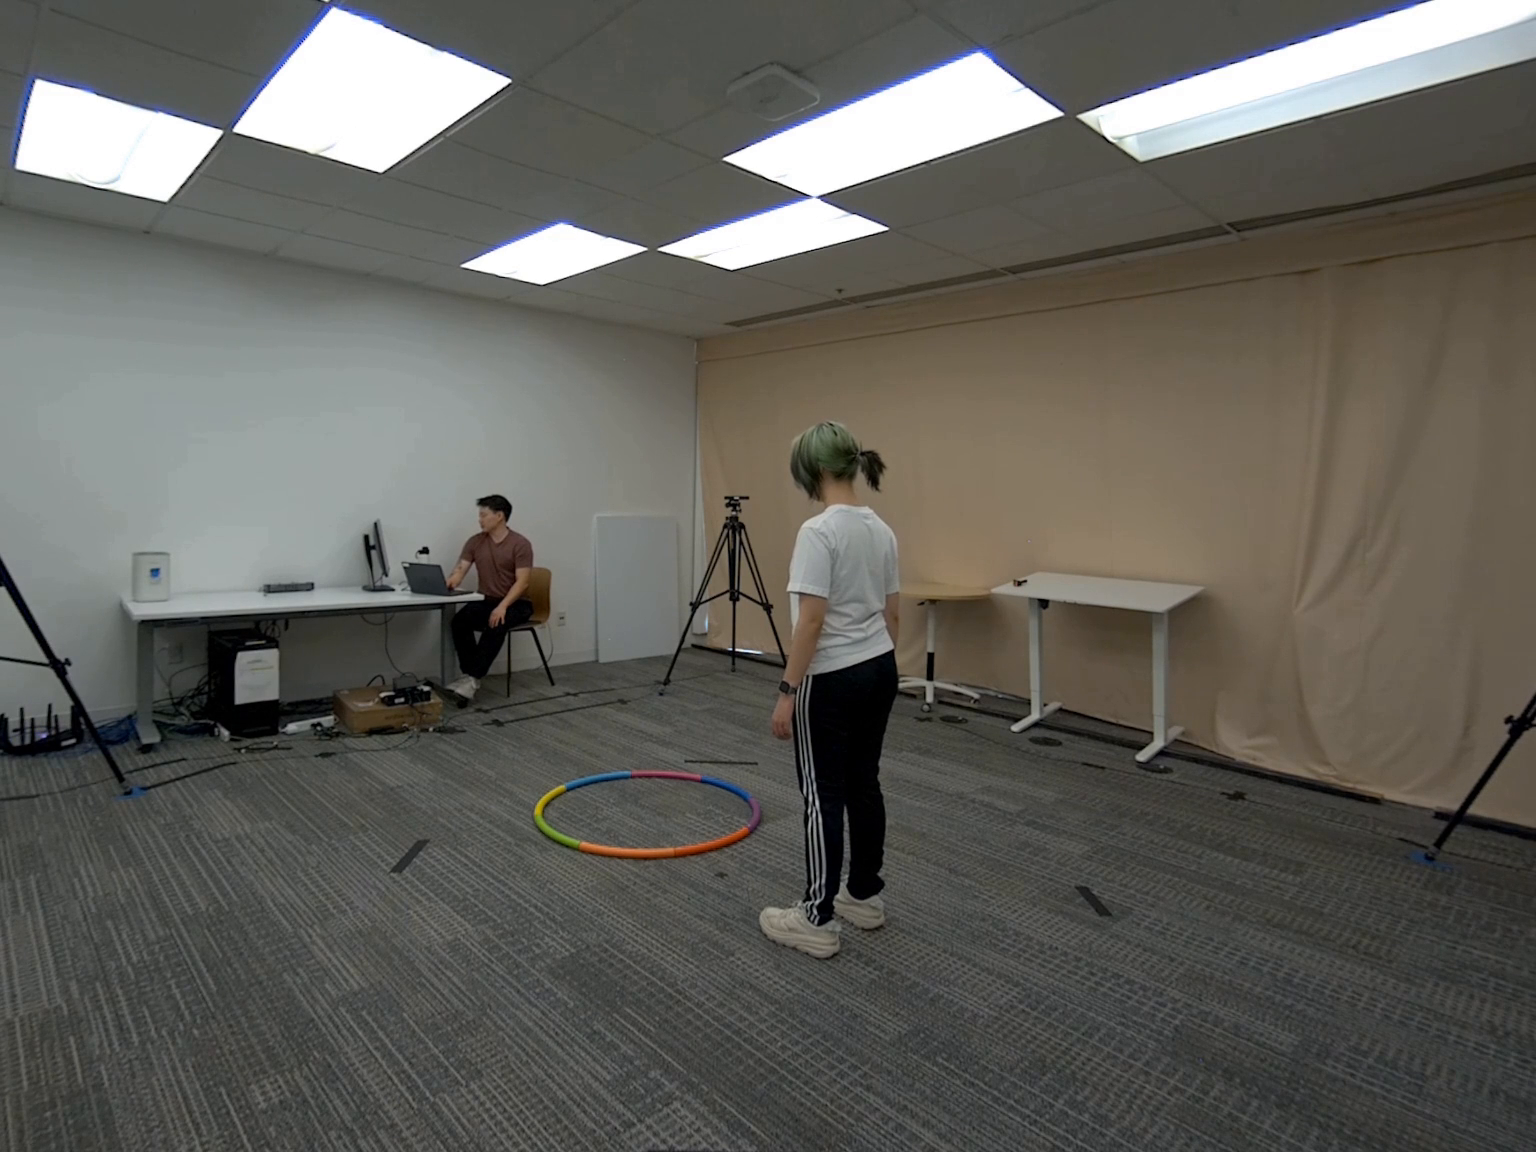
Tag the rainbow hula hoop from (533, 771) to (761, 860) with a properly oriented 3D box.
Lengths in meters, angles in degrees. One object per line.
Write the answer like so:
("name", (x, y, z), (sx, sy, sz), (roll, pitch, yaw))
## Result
("rainbow hula hoop", (-0.528, 1.012, 3.701), (0.978, 0.035, 0.982), (2, 5, -1))
